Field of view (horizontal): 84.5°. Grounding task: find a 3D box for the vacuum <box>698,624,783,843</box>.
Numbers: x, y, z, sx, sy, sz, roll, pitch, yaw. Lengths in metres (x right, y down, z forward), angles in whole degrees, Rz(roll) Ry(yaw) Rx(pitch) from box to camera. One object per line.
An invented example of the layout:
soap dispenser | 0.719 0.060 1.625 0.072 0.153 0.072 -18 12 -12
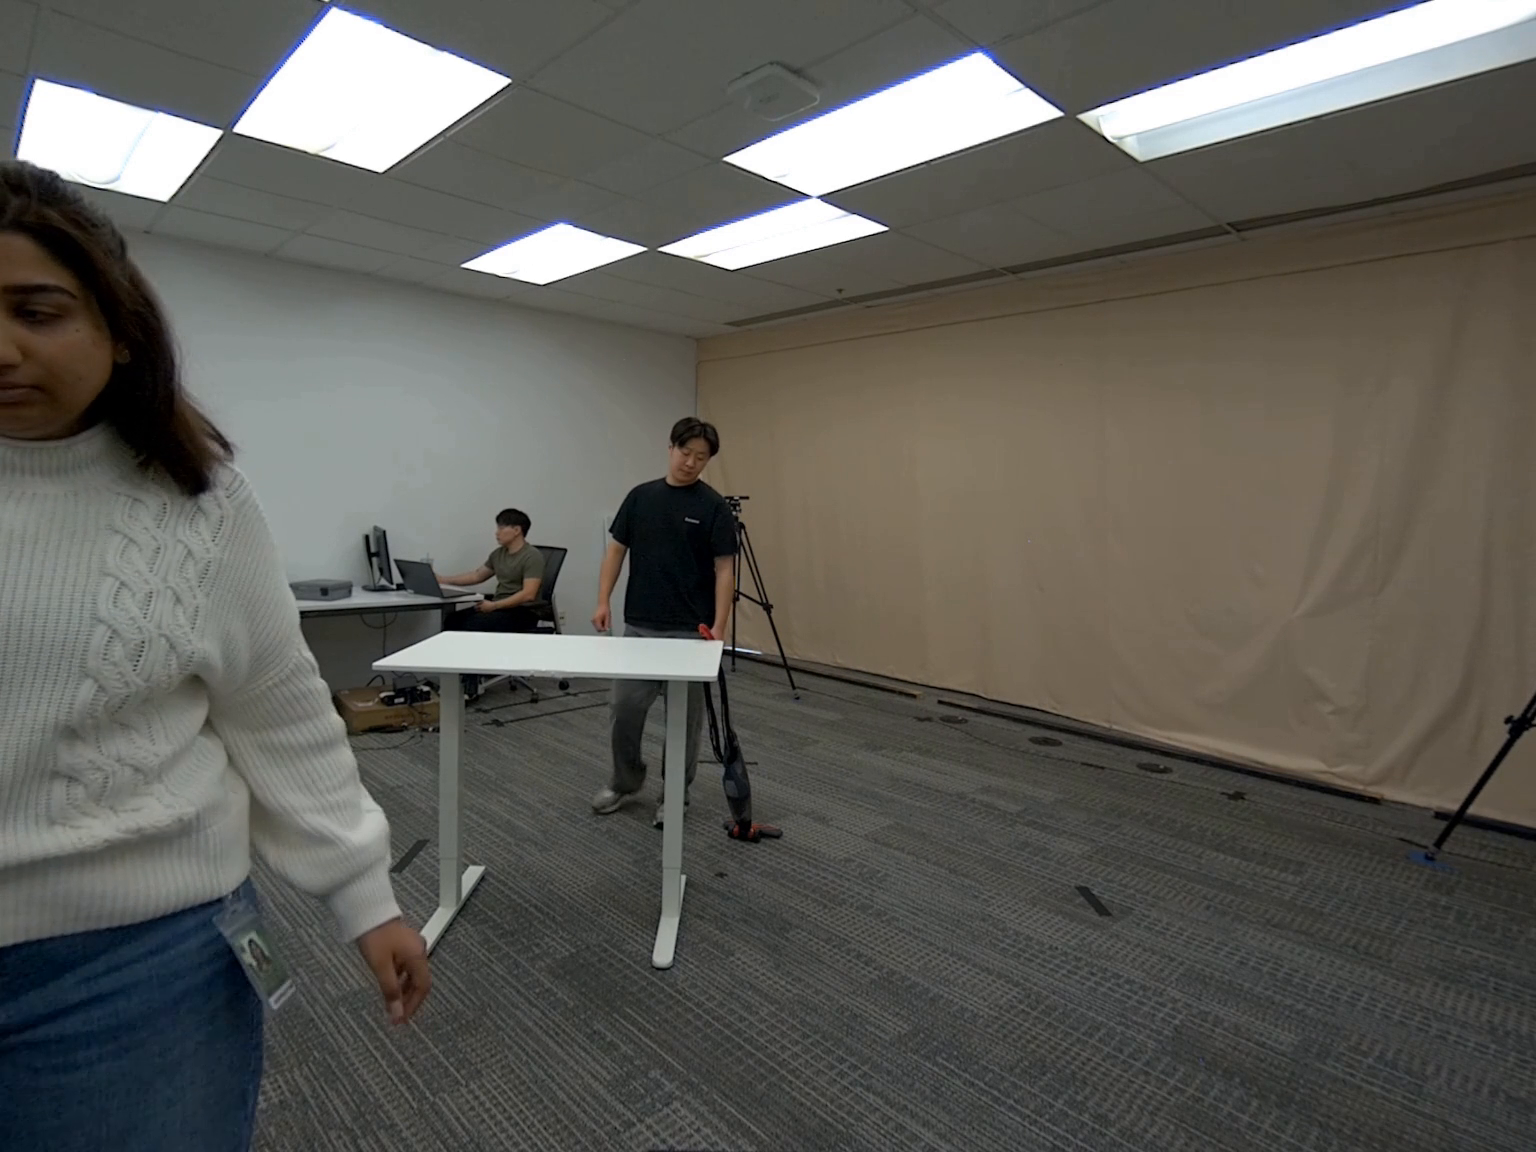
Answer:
vacuum | -0.157 0.628 3.228 0.257 1.026 0.144 5 33 24
